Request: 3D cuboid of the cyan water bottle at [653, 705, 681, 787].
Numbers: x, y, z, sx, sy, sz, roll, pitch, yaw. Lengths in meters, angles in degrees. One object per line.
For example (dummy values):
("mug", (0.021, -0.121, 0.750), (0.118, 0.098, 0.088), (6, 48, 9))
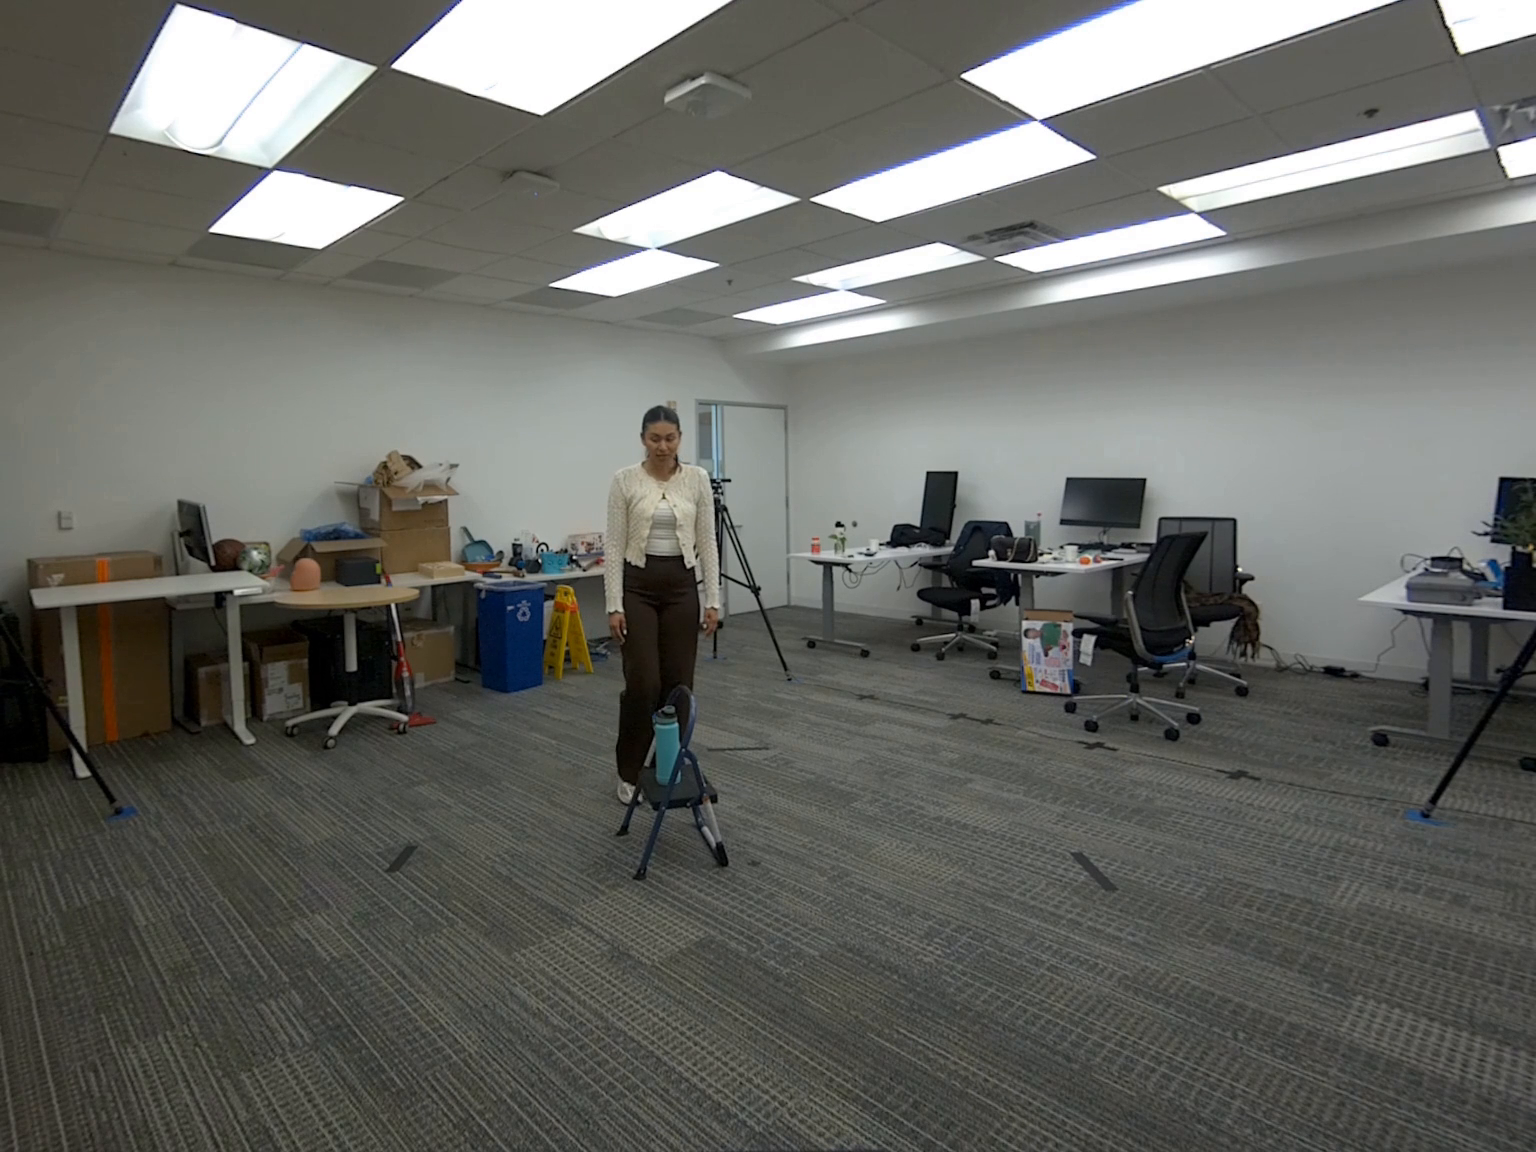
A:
("cyan water bottle", (-0.385, 0.639, 3.217), (0.092, 0.283, 0.092), (-3, 2, -1))
